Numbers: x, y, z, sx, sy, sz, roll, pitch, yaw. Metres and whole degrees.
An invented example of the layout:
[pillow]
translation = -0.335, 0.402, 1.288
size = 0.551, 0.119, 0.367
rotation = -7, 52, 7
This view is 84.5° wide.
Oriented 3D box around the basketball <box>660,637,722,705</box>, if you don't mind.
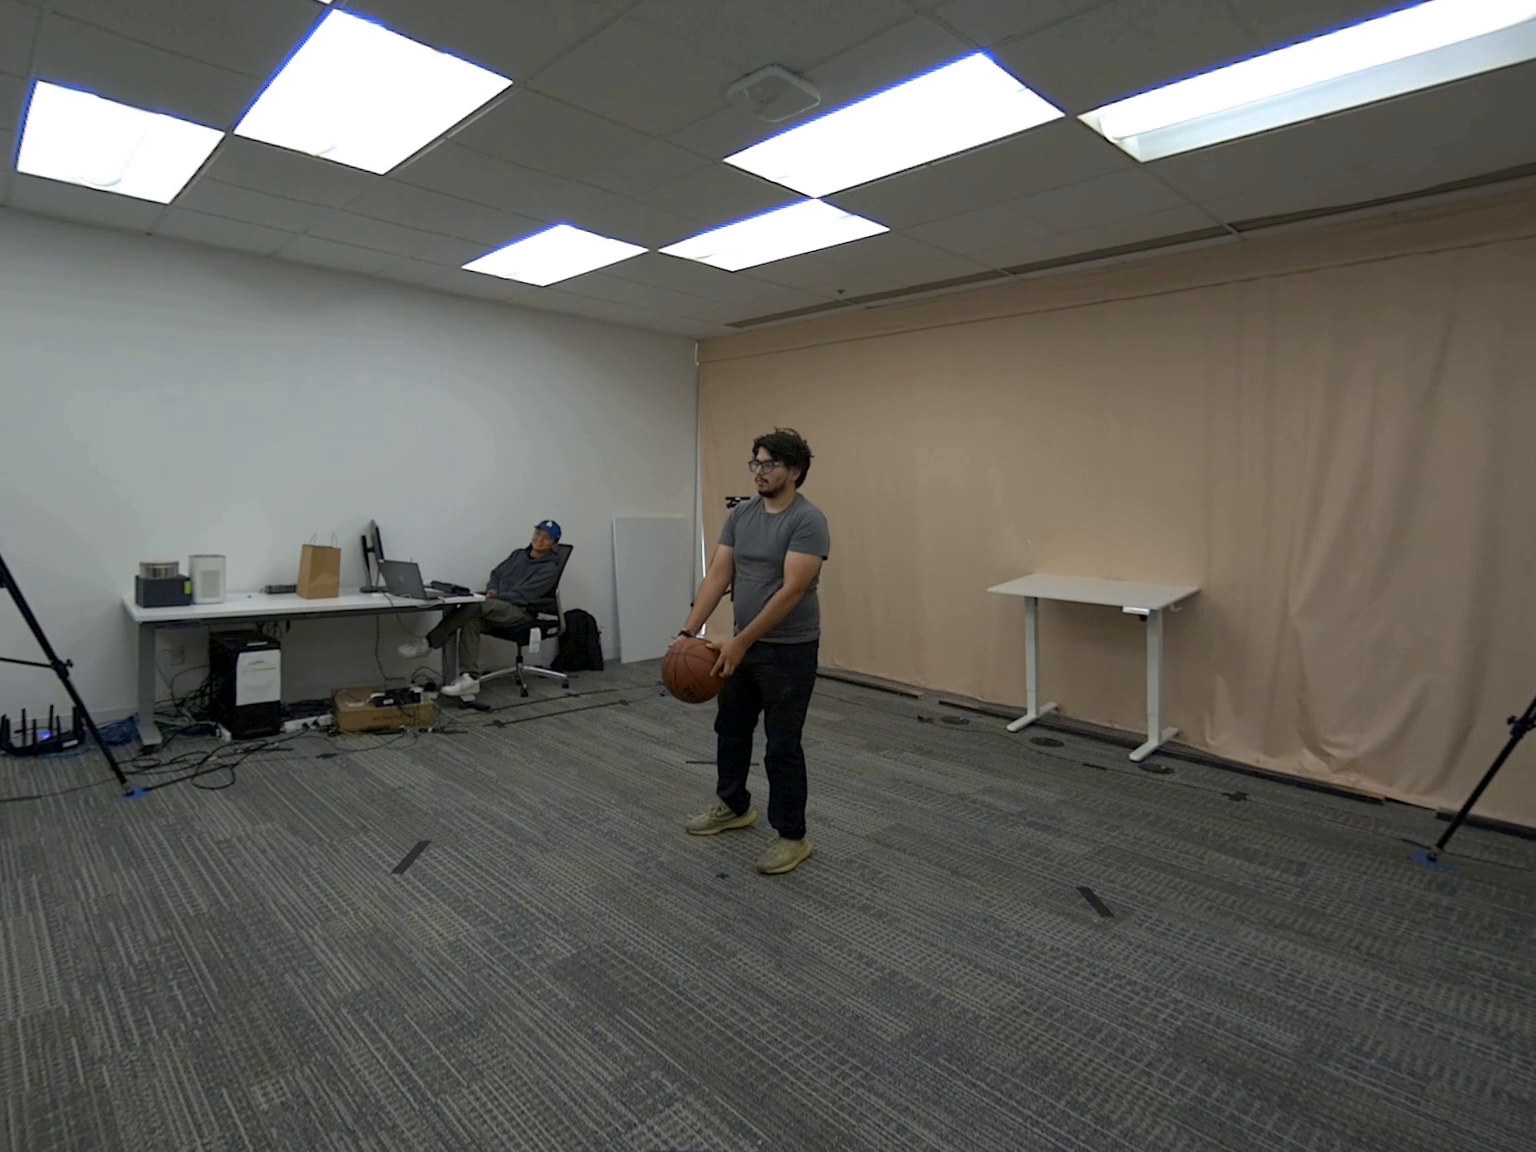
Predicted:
[basketball]
translation = -0.279, 0.342, 3.054
size = 0.236, 0.235, 0.237
rotation = 1, 4, -1
